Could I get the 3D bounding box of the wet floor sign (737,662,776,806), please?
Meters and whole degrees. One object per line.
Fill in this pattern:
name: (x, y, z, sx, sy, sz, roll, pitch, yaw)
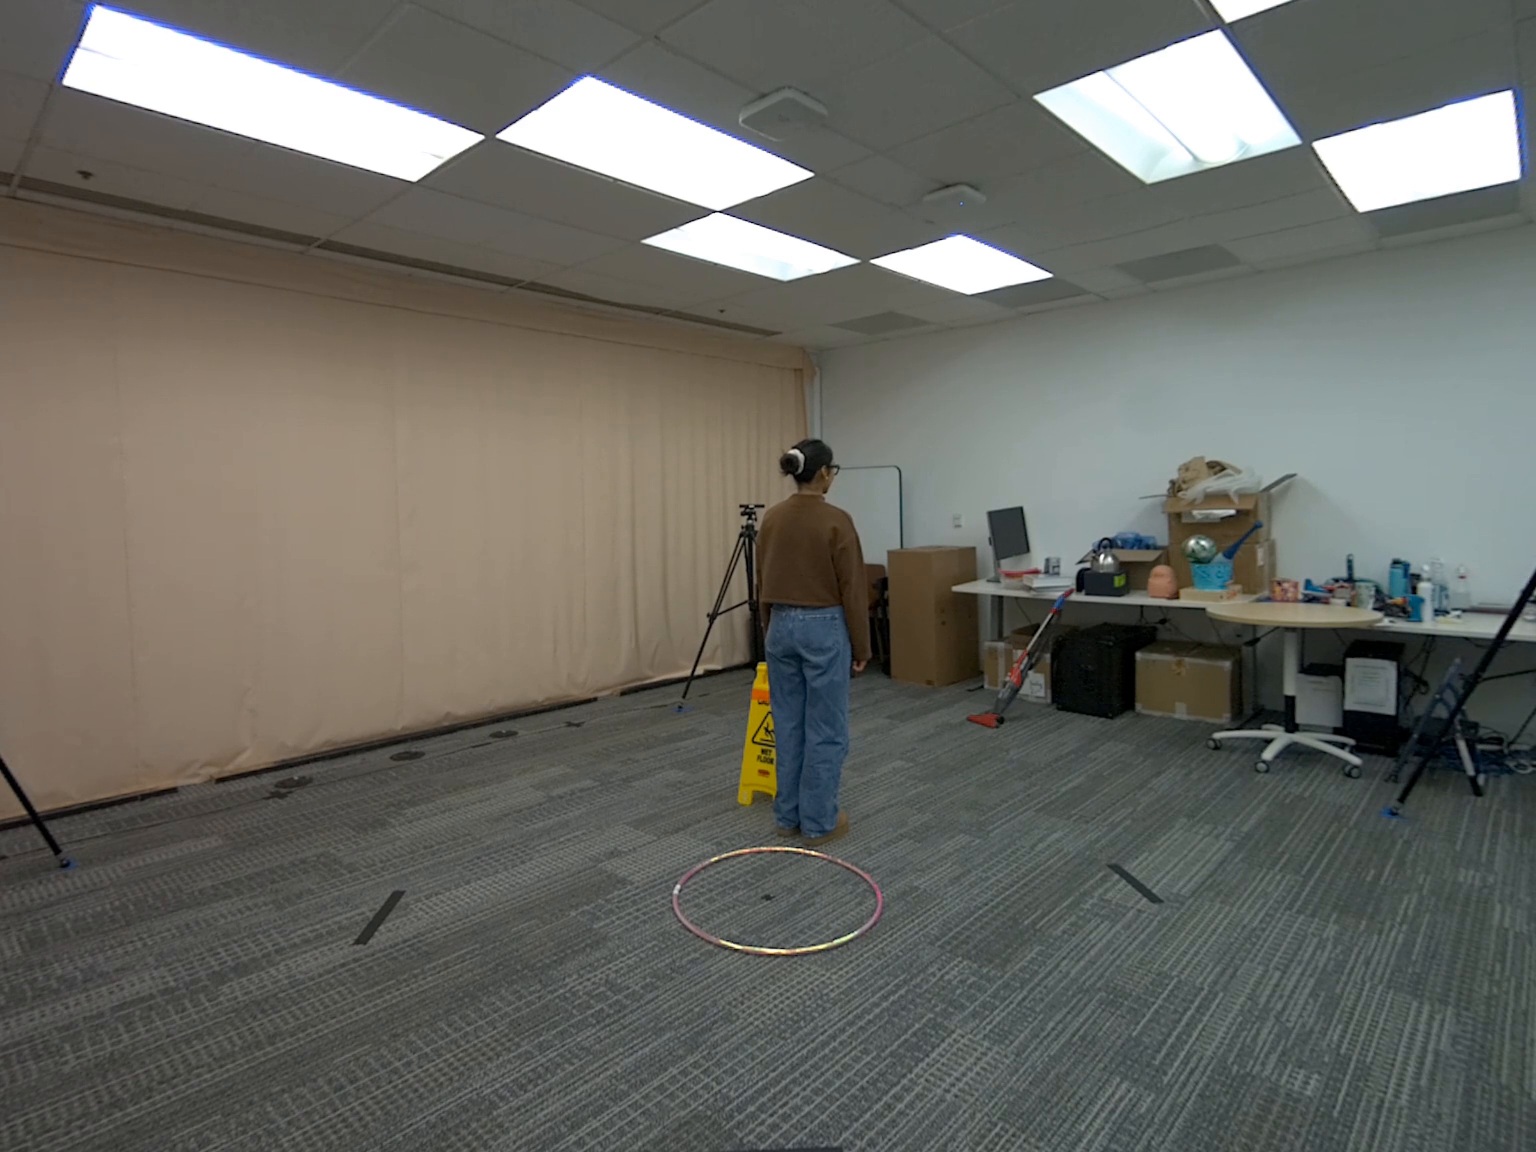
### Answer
wet floor sign: (0.041, 0.734, 3.962, 0.291, 0.645, 0.281, 2, 4, 37)
